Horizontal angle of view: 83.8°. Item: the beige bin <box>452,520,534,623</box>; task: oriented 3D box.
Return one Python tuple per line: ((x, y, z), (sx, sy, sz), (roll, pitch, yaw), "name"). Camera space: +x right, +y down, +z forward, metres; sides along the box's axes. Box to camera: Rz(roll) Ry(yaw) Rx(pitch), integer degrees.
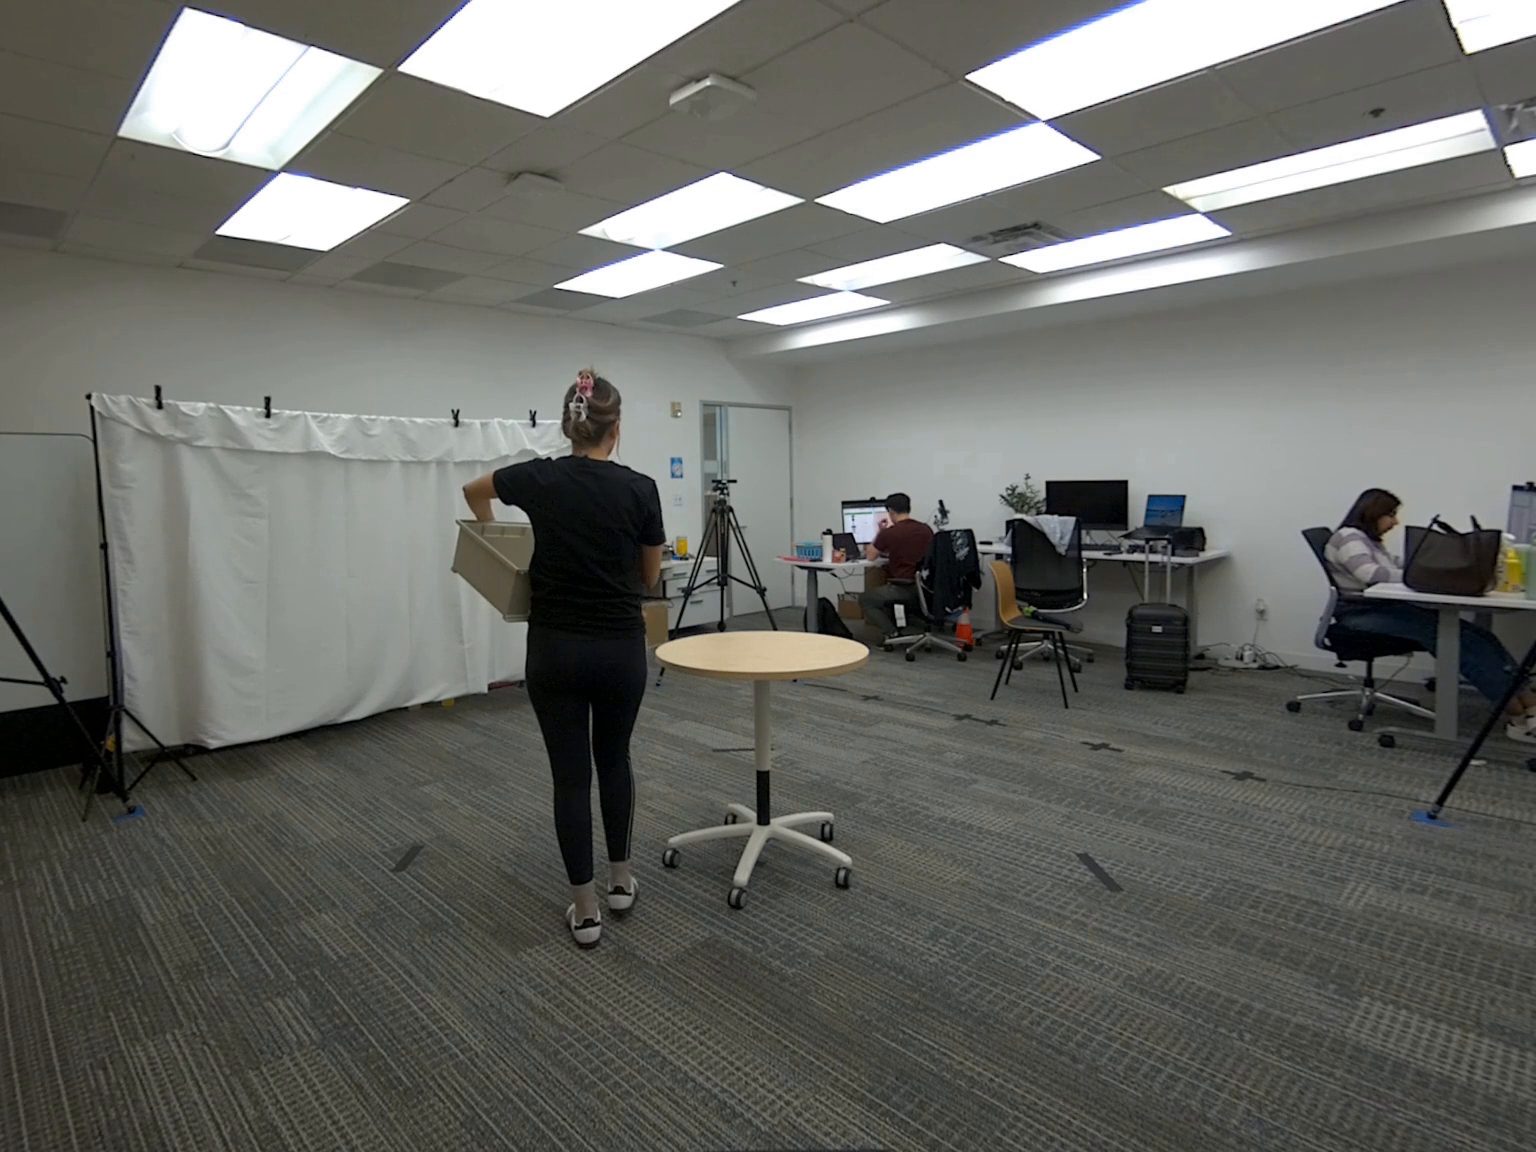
((-0.779, -0.018, 2.834), (0.366, 0.187, 0.439), (-1, 24, -46), "beige bin")
